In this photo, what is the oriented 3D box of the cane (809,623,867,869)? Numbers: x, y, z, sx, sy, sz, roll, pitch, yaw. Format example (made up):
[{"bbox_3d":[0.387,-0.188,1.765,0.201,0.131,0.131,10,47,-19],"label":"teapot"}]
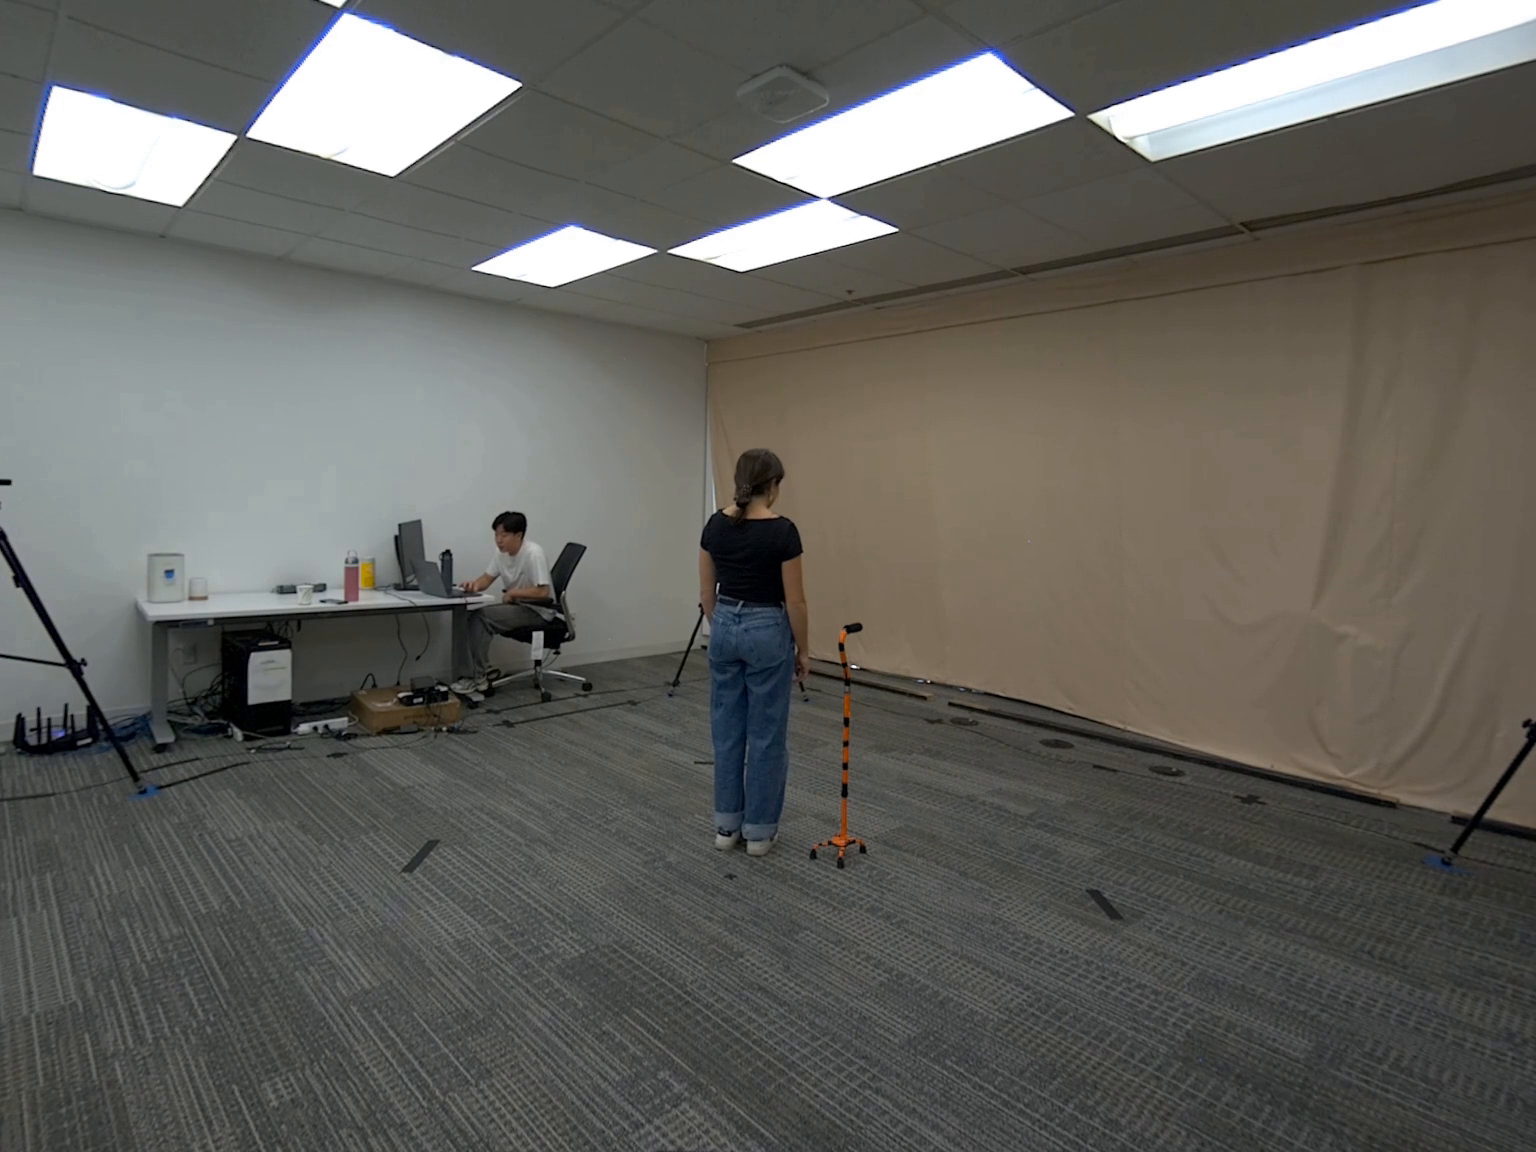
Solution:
[{"bbox_3d":[0.282,0.649,3.290,0.155,0.907,0.202,2,1,32],"label":"cane"}]
